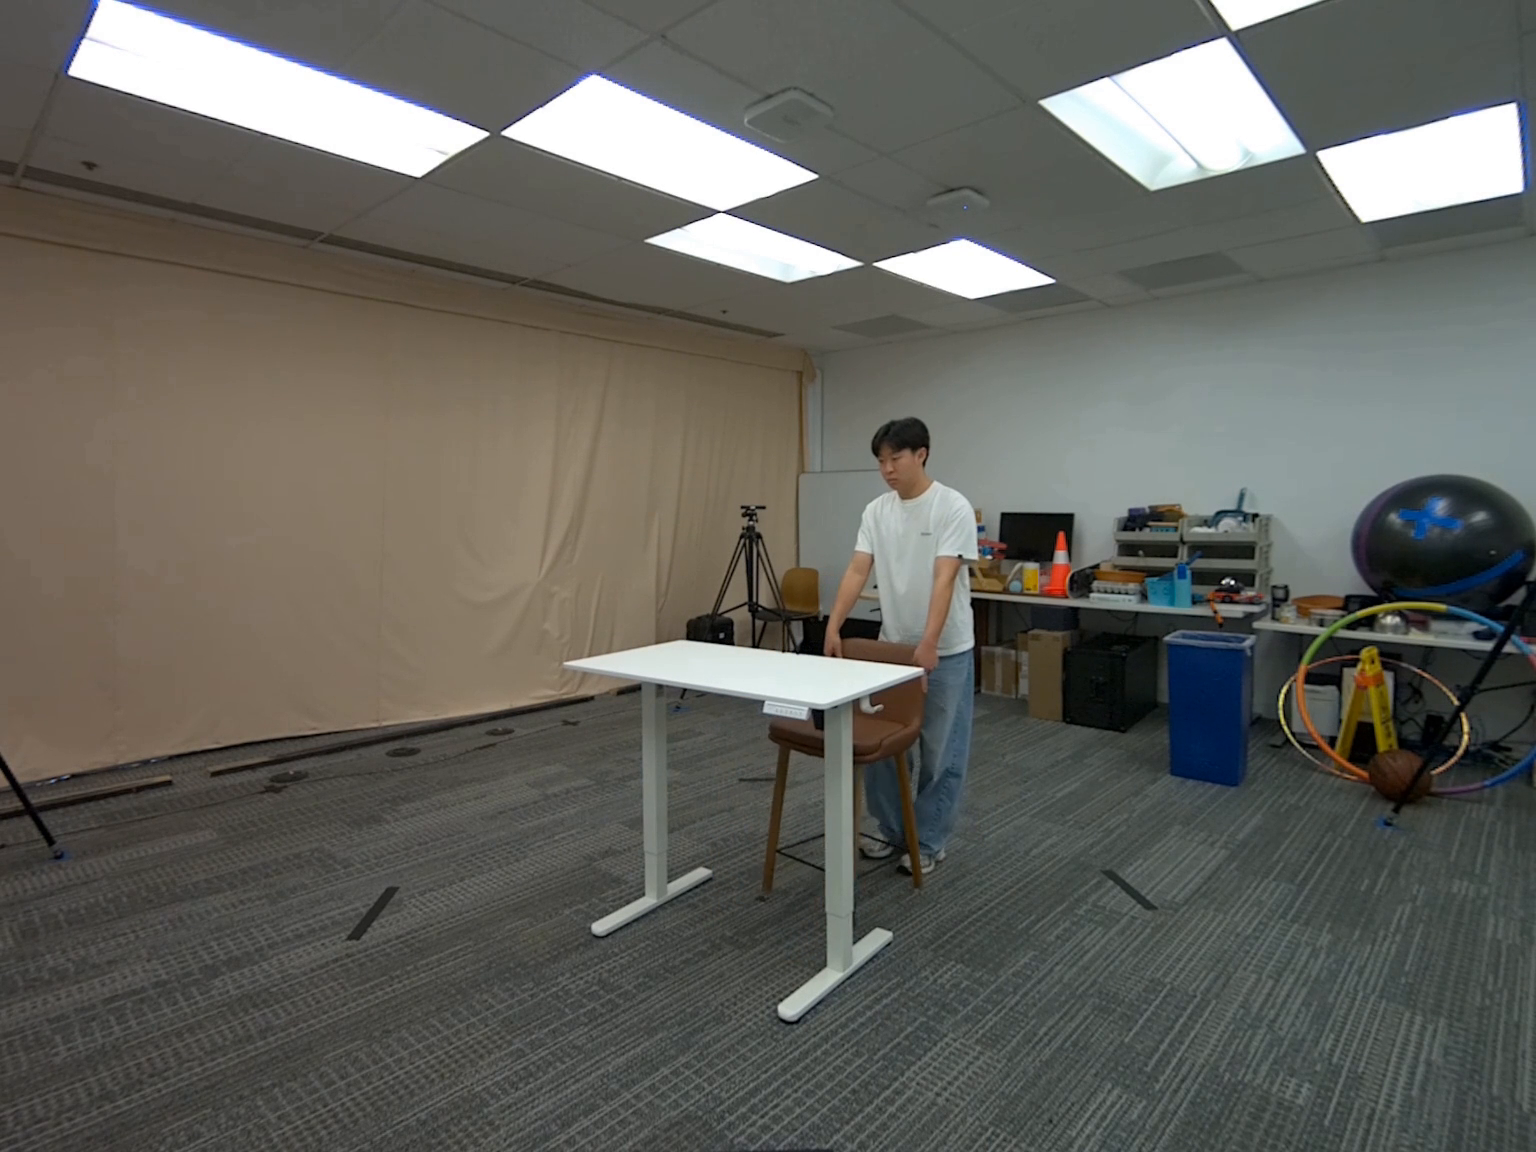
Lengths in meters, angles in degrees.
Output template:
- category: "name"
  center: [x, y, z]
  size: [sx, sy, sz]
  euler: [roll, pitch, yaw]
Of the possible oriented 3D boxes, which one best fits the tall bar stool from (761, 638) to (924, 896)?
- category: "tall bar stool"
  center: [0.286, 0.695, 3.035]
  size: [0.453, 0.889, 0.472]
  euler: [0, 2, -44]
